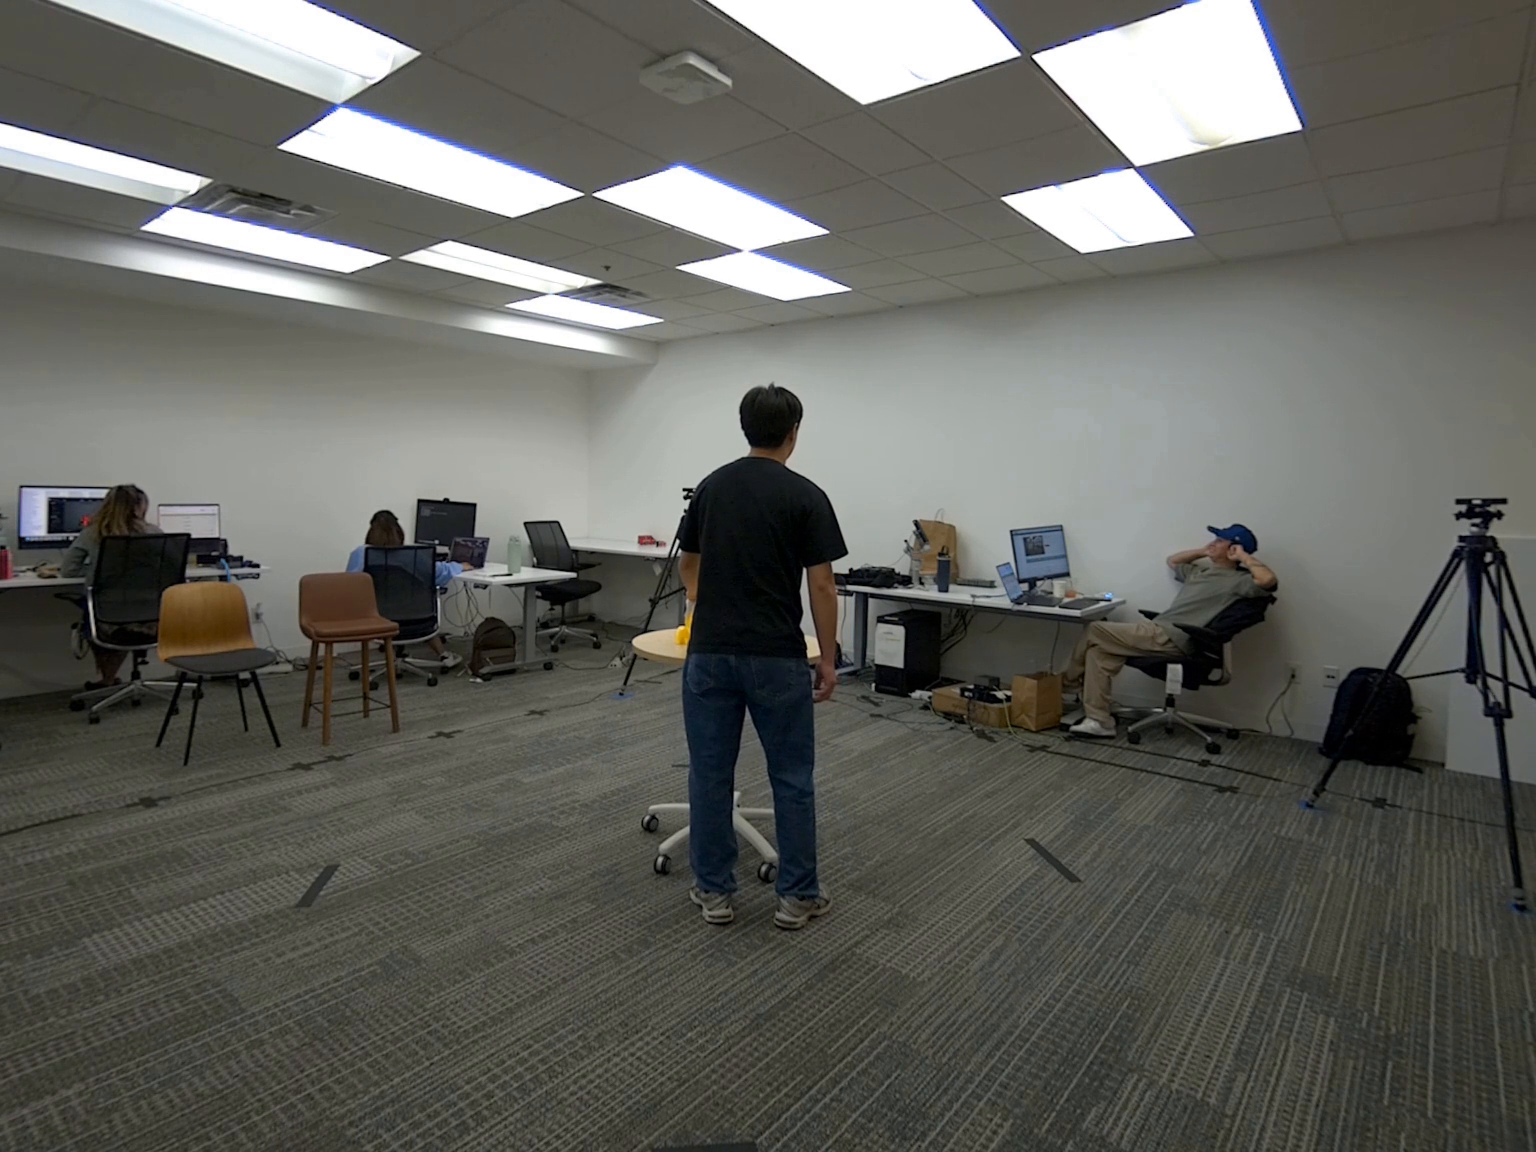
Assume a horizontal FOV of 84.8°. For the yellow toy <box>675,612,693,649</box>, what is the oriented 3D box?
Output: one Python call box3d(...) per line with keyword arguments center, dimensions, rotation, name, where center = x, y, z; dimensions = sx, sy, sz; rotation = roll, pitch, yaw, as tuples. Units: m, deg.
box3d(center=(-0.259, 0.140, 3.292), dimensions=(0.209, 0.230, 0.190), rotation=(2, 3, 17), name="yellow toy")
